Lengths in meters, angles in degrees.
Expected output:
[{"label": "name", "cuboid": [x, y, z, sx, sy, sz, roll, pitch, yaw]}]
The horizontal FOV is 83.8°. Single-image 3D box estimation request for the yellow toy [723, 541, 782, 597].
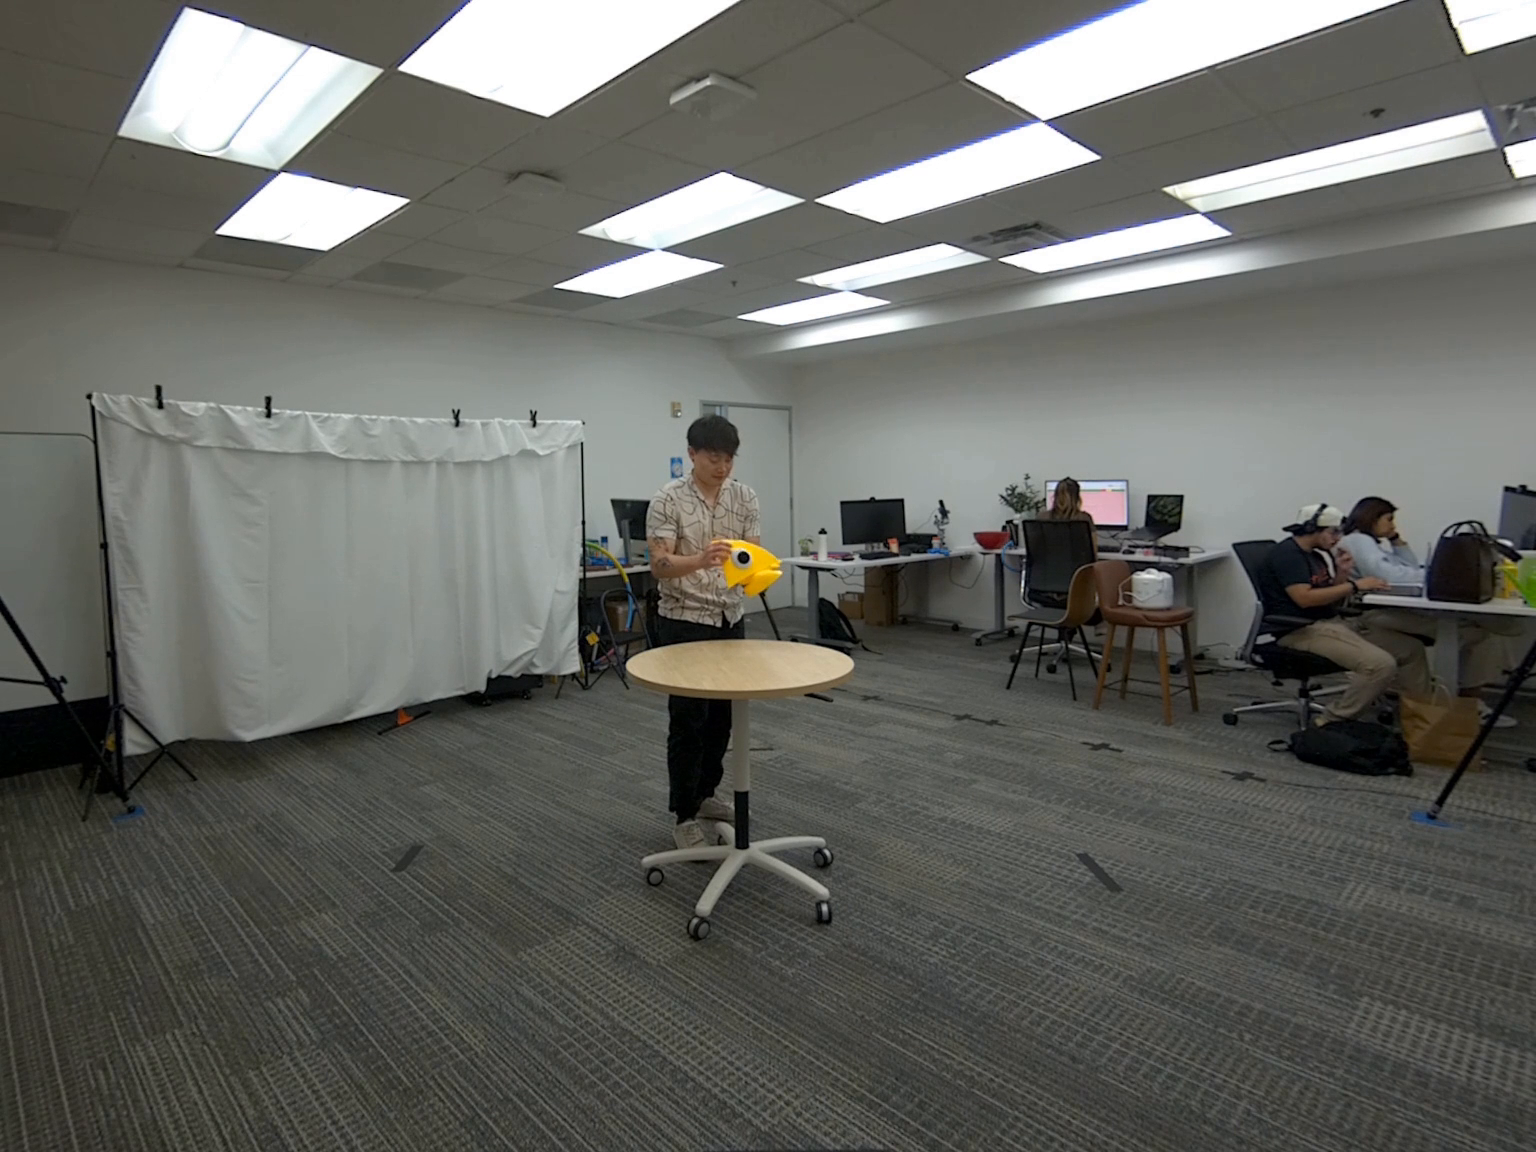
[{"label": "yellow toy", "cuboid": [-0.088, -0.065, 3.102, 0.193, 0.227, 0.207, -37, 13, 11]}]
